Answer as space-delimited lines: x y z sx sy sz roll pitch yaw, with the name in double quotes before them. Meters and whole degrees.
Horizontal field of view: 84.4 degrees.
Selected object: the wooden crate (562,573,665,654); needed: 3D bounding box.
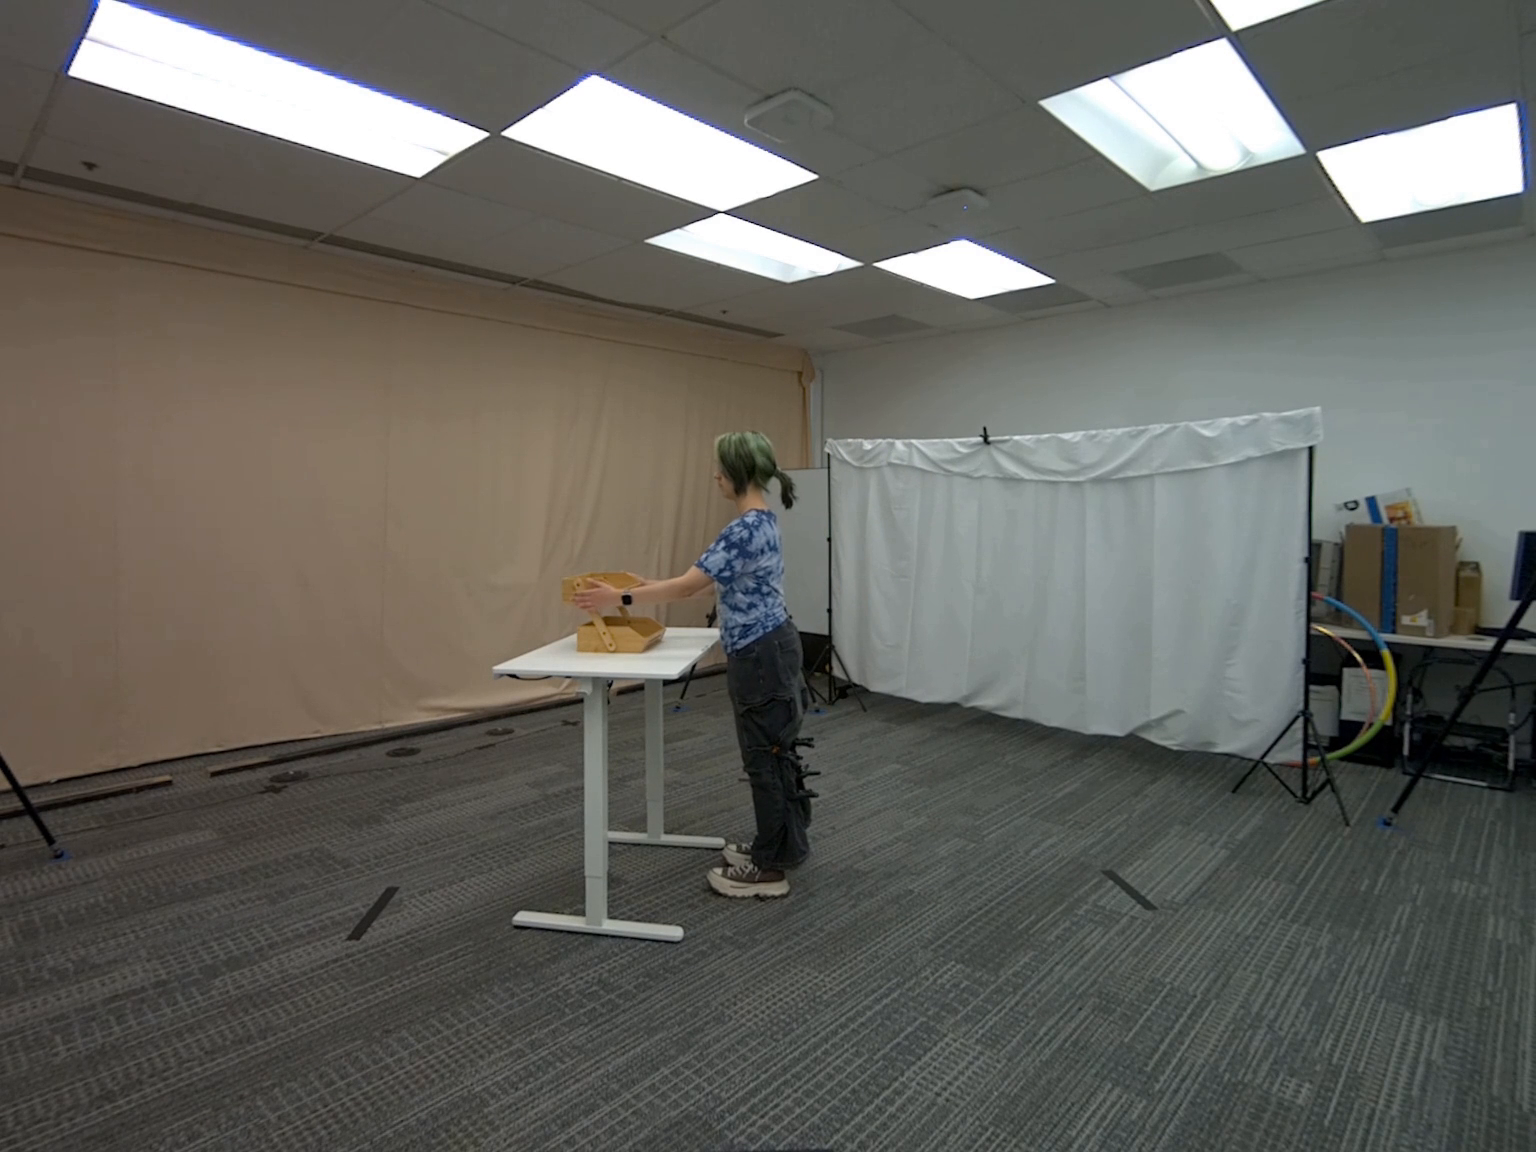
"wooden crate" -0.549 0.127 3.084 0.305 0.273 0.322 -1 3 8
